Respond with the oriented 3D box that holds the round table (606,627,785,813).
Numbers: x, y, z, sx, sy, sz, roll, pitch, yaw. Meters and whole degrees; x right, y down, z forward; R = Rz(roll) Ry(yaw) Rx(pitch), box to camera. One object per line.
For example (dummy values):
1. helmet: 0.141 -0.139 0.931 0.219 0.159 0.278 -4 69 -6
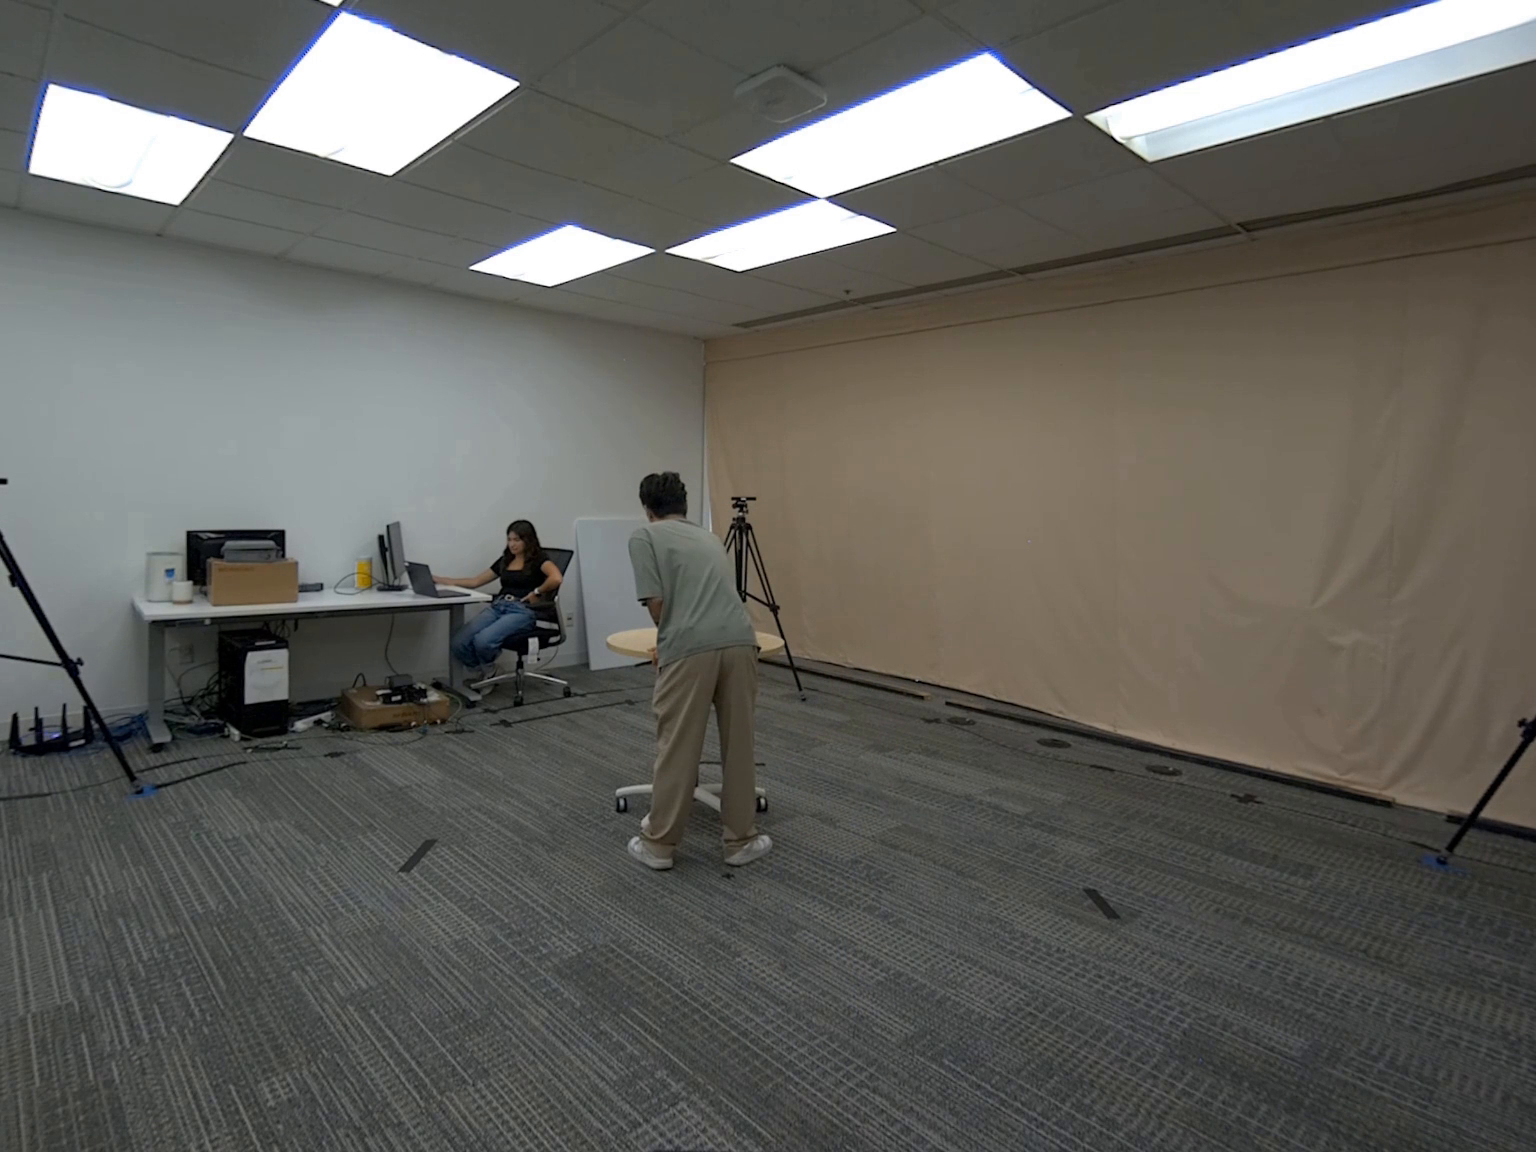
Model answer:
1. round table: -0.336 0.665 3.659 0.784 0.785 0.787 1 3 -1
